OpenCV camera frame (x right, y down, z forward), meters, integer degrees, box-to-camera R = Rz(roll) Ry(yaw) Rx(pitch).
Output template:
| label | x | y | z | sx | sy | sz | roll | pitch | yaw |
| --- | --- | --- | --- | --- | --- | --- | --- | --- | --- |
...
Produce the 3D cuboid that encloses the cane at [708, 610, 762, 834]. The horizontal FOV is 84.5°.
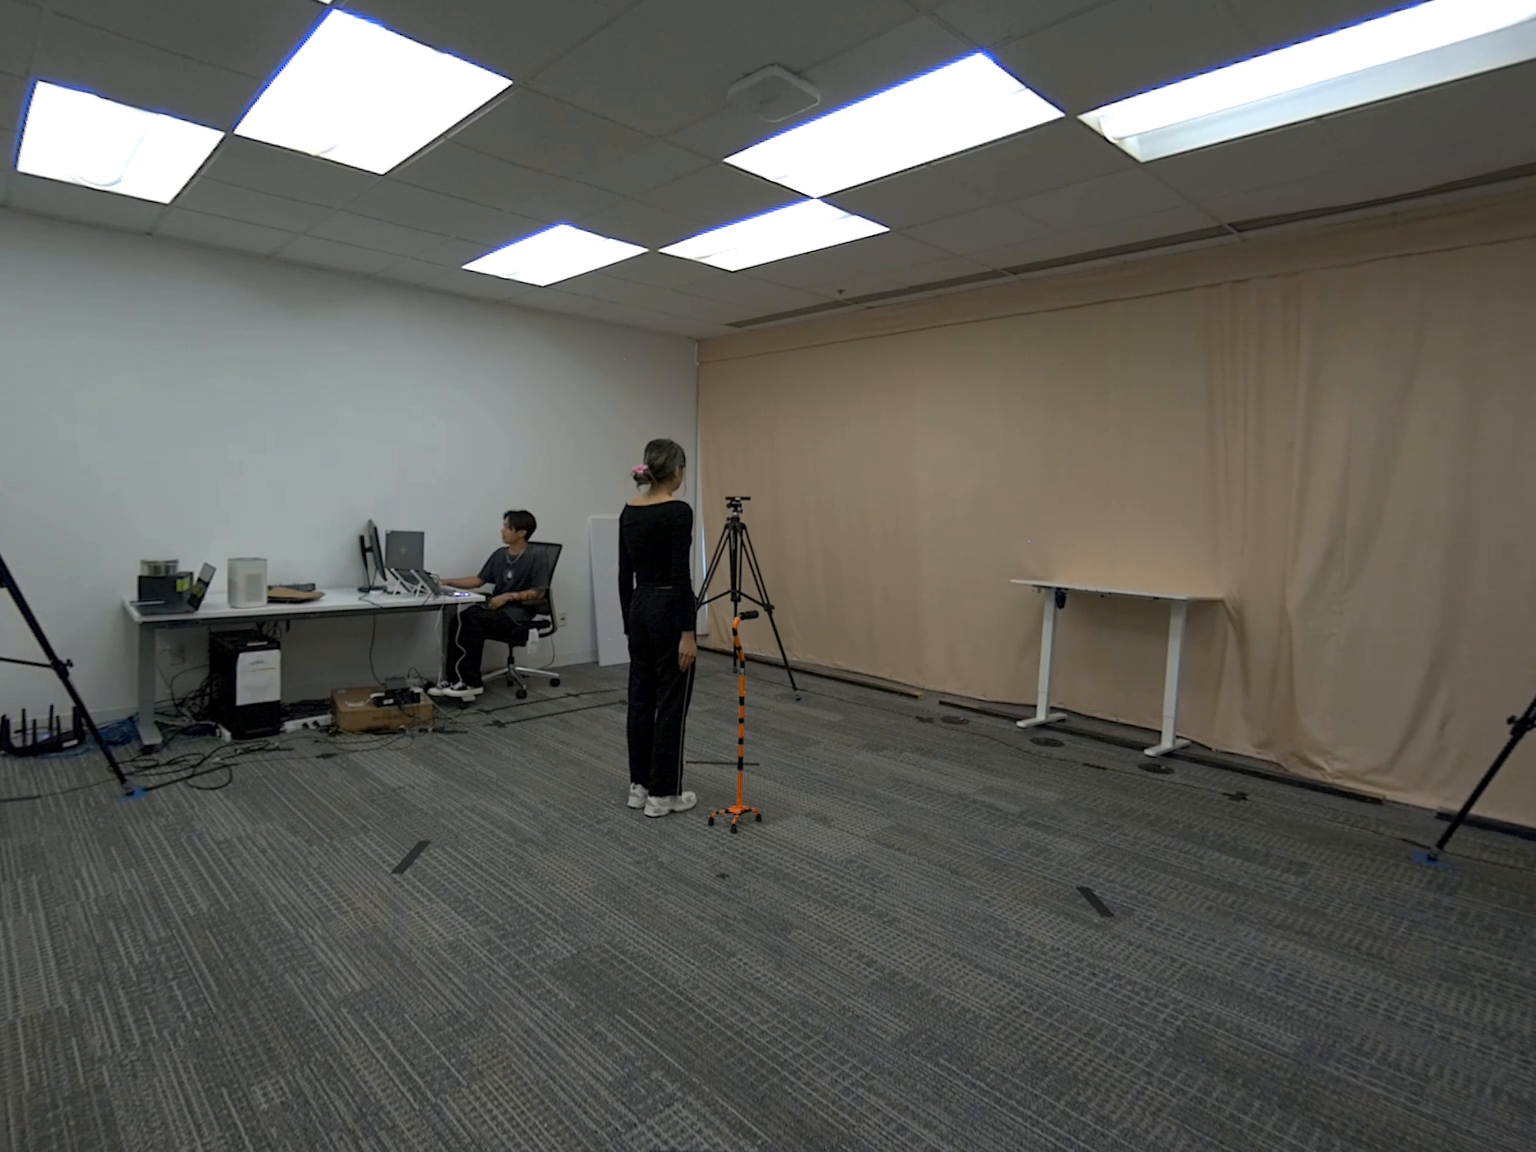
| label | x | y | z | sx | sy | sz | roll | pitch | yaw |
| --- | --- | --- | --- | --- | --- | --- | --- | --- | --- |
| cane | -0.140 | 0.608 | 3.601 | 0.155 | 0.906 | 0.202 | 3 | 4 | 37 |
